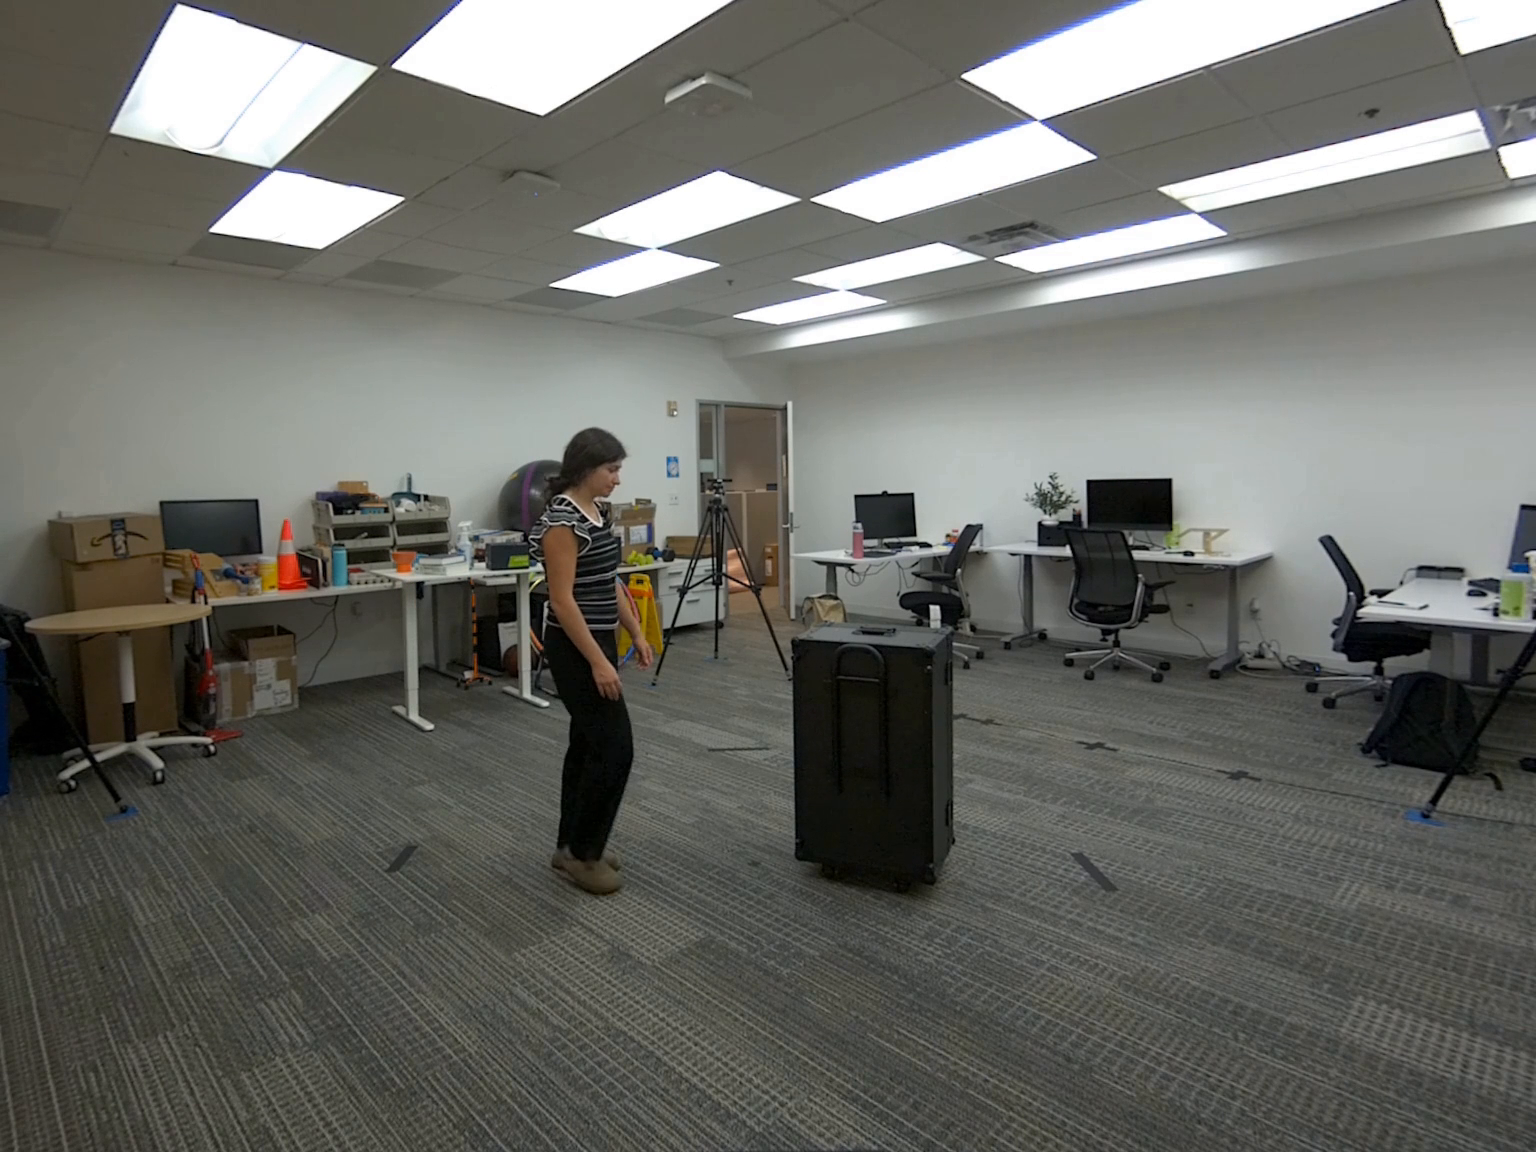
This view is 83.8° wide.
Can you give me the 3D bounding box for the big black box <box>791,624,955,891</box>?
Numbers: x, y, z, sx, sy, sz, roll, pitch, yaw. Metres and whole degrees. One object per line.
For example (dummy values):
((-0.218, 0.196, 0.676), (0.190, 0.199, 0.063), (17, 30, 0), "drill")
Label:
((0.376, 0.620, 2.996), (0.533, 0.857, 0.389), (1, 6, 24), "big black box")
